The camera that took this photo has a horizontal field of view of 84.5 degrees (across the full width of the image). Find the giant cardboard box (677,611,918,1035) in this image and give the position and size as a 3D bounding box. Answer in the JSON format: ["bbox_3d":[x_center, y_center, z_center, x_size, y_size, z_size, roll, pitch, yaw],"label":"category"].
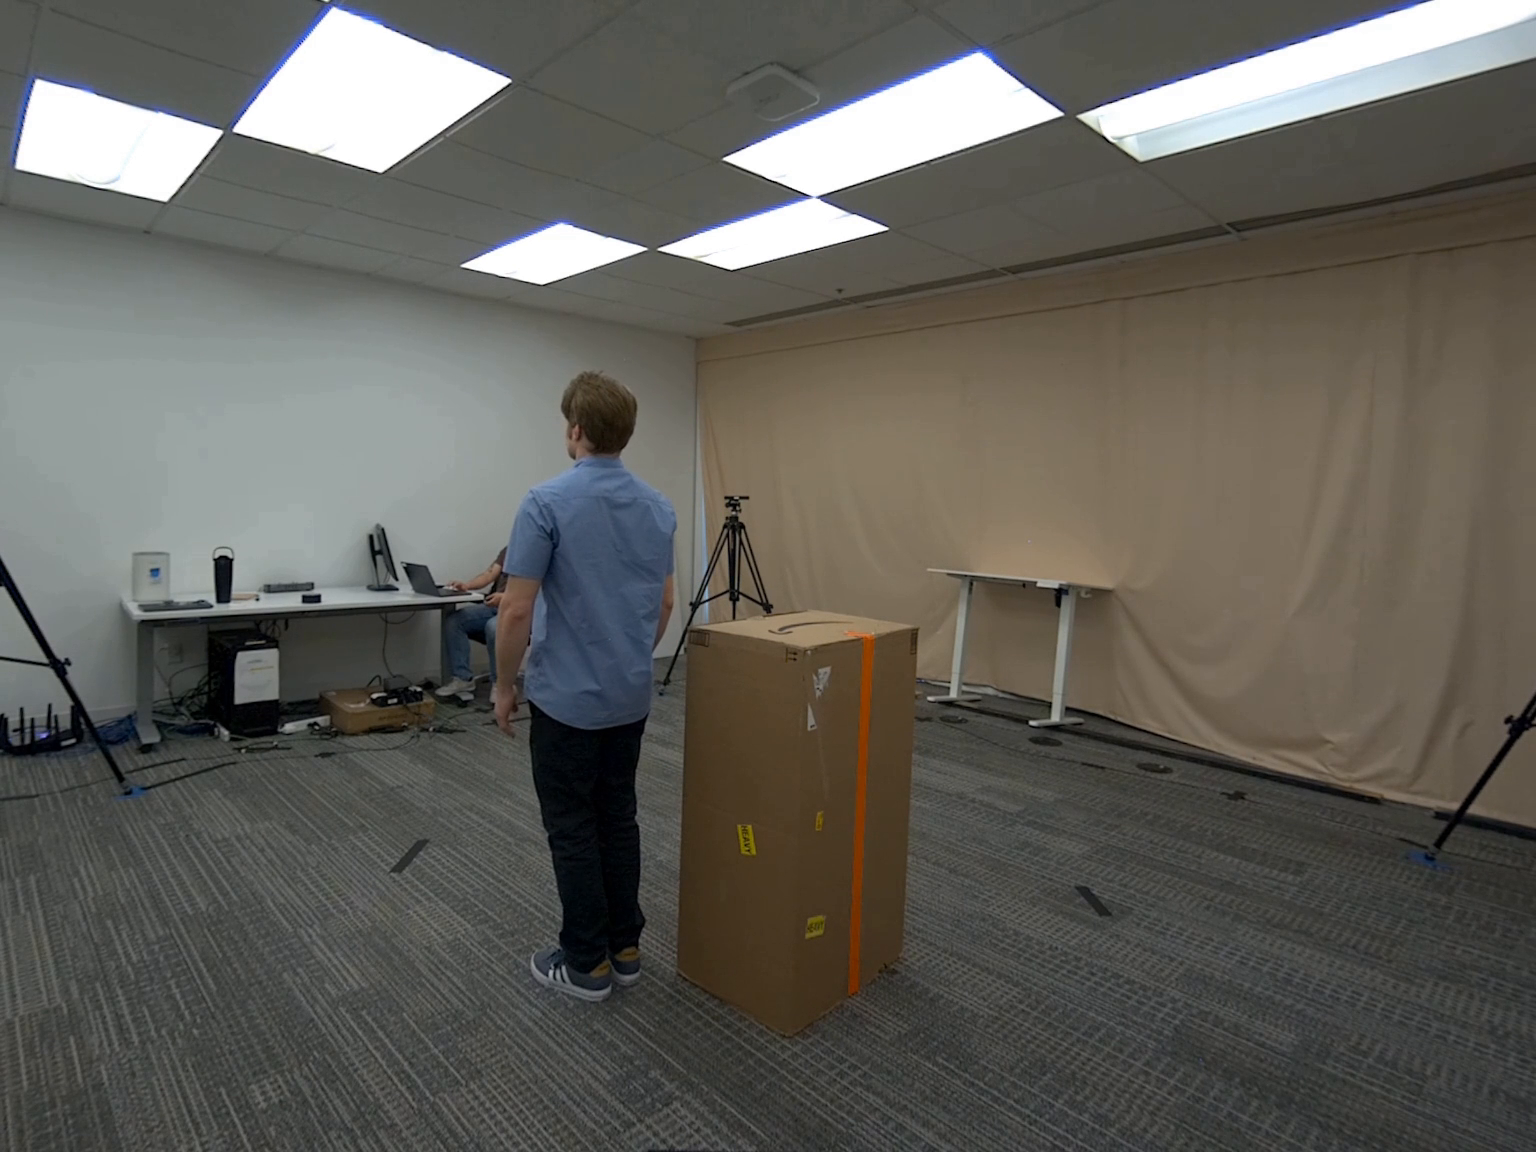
[{"bbox_3d":[0.095,0.659,2.490,0.437,1.023,0.564,5,5,41],"label":"giant cardboard box"}]
